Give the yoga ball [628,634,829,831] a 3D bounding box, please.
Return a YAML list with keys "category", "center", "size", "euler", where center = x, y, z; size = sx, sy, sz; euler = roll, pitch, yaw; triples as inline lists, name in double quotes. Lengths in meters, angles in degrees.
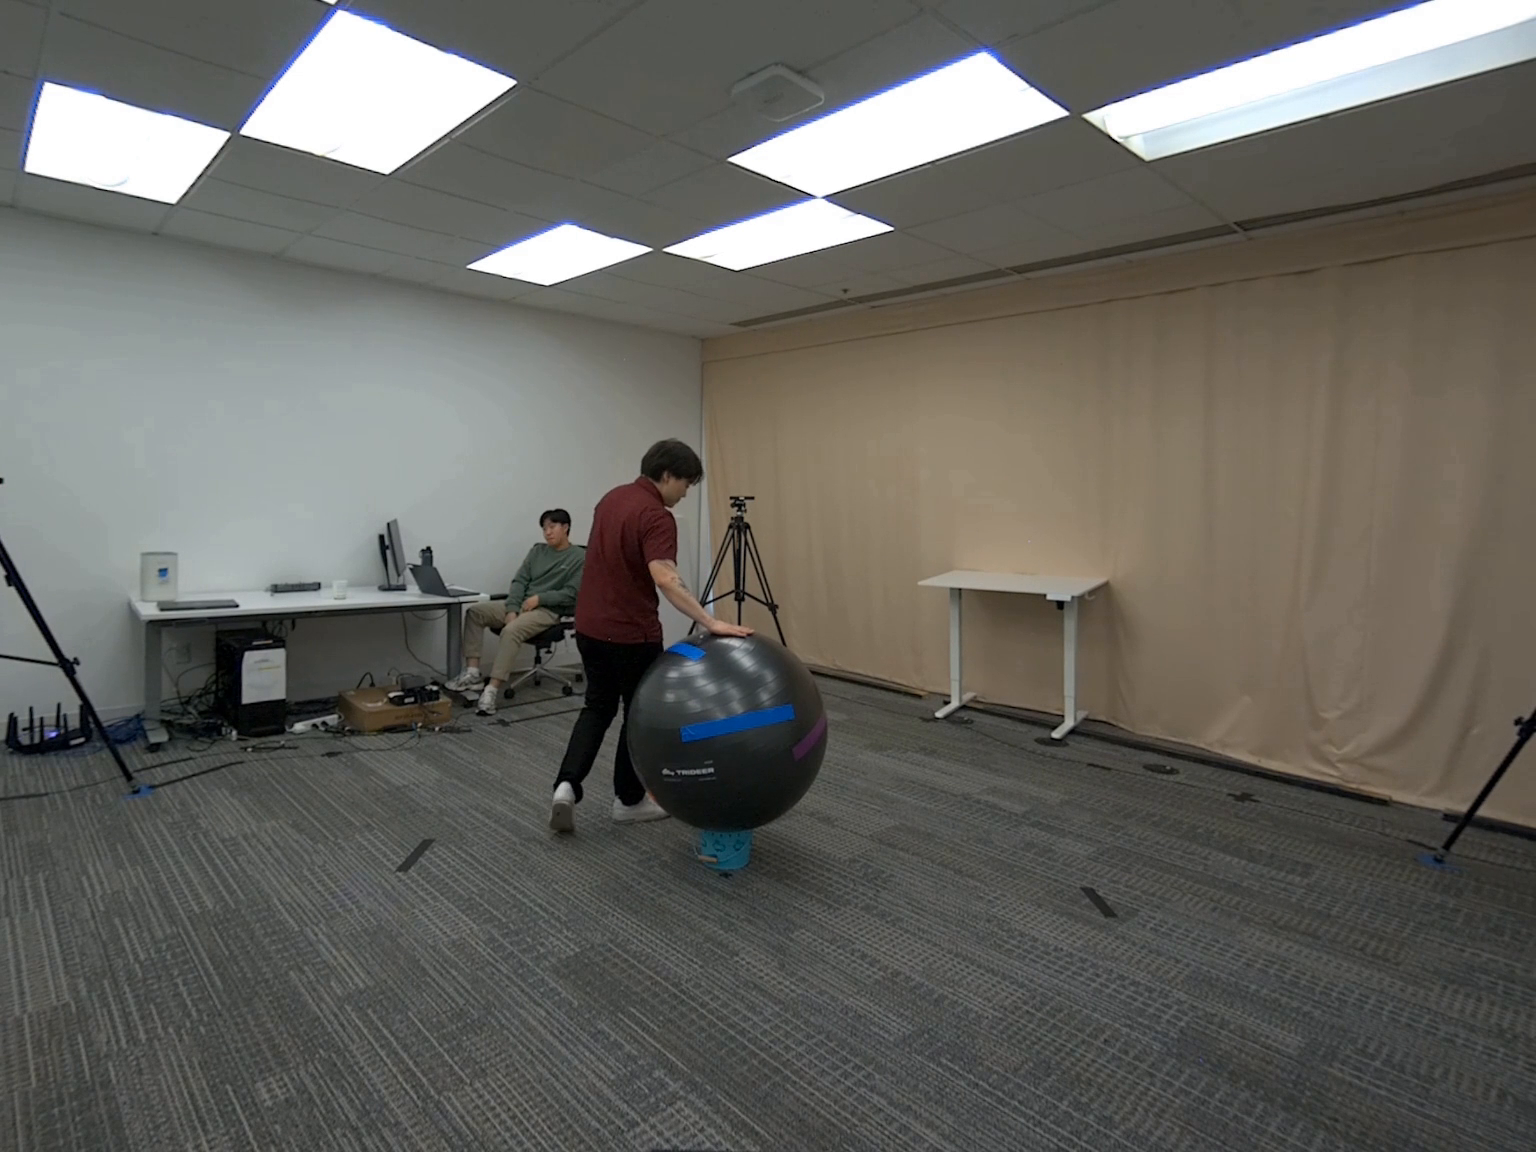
- category: "yoga ball"
  center: [-0.150, 0.595, 3.202]
  size: [0.757, 0.756, 0.761]
  euler: [1, 4, -1]
